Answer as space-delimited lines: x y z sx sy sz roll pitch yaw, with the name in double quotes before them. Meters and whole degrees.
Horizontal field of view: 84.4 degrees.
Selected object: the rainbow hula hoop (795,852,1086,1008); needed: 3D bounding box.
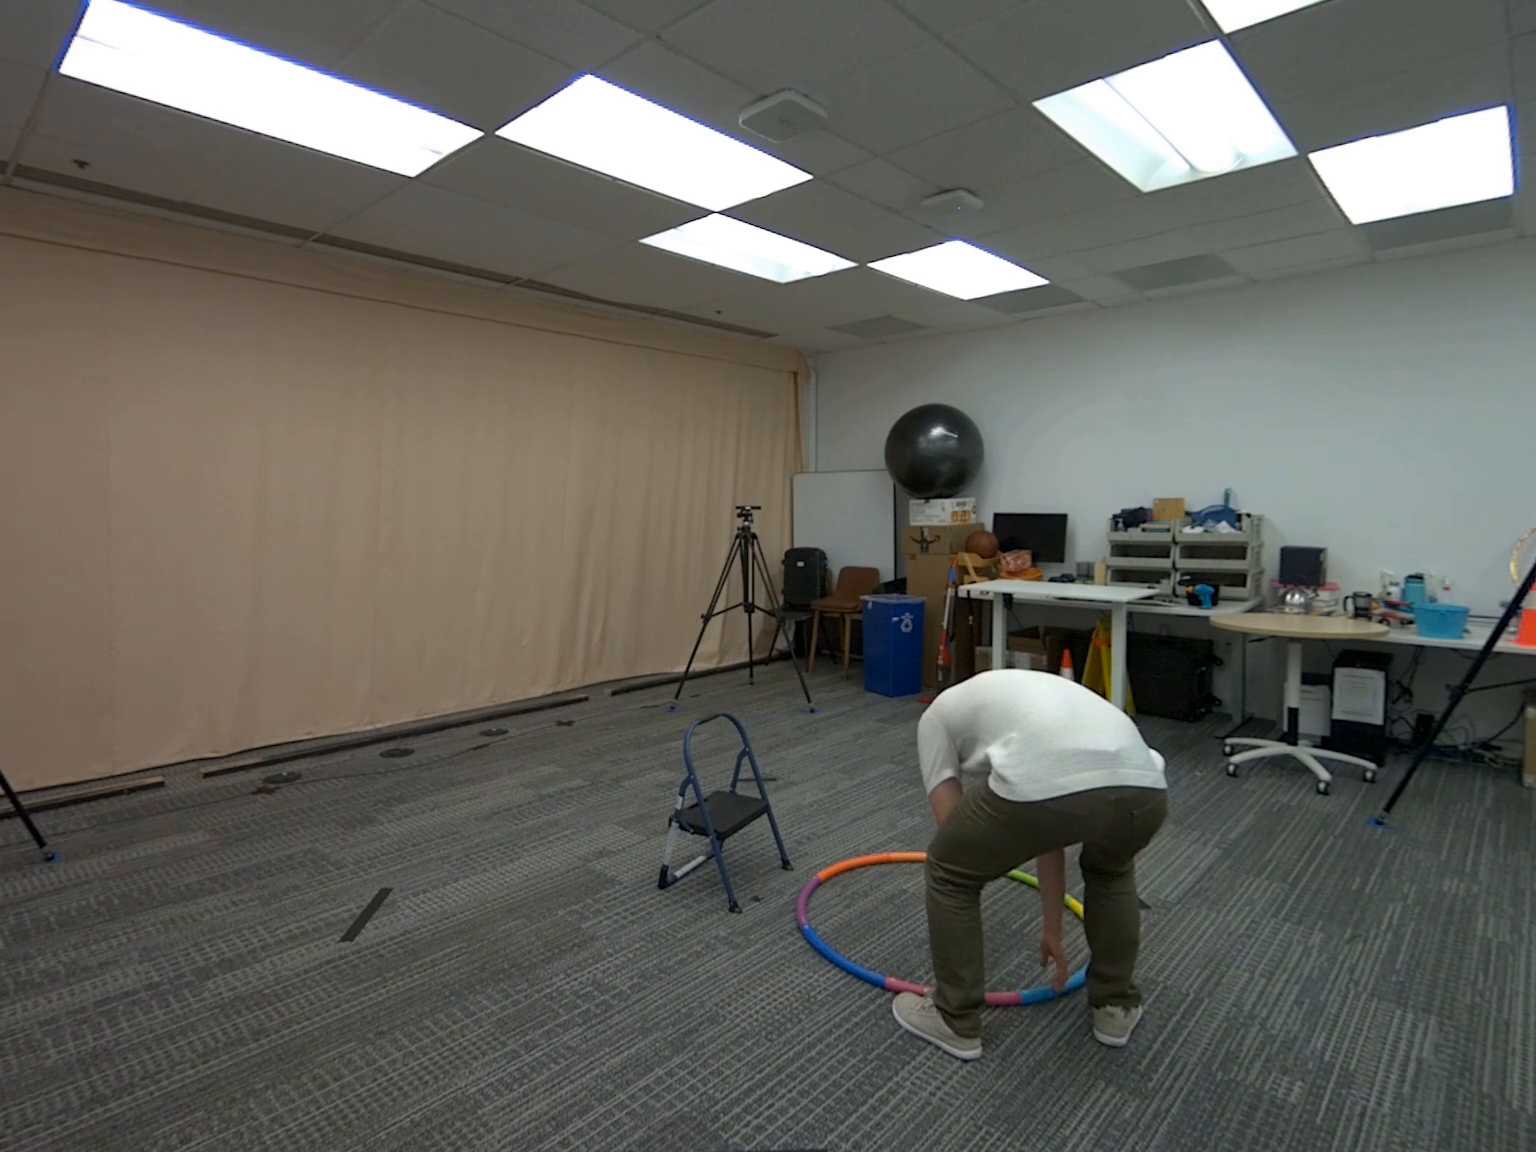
"rainbow hula hoop" 0.590 1.126 2.821 0.978 0.035 0.982 0 5 -2
